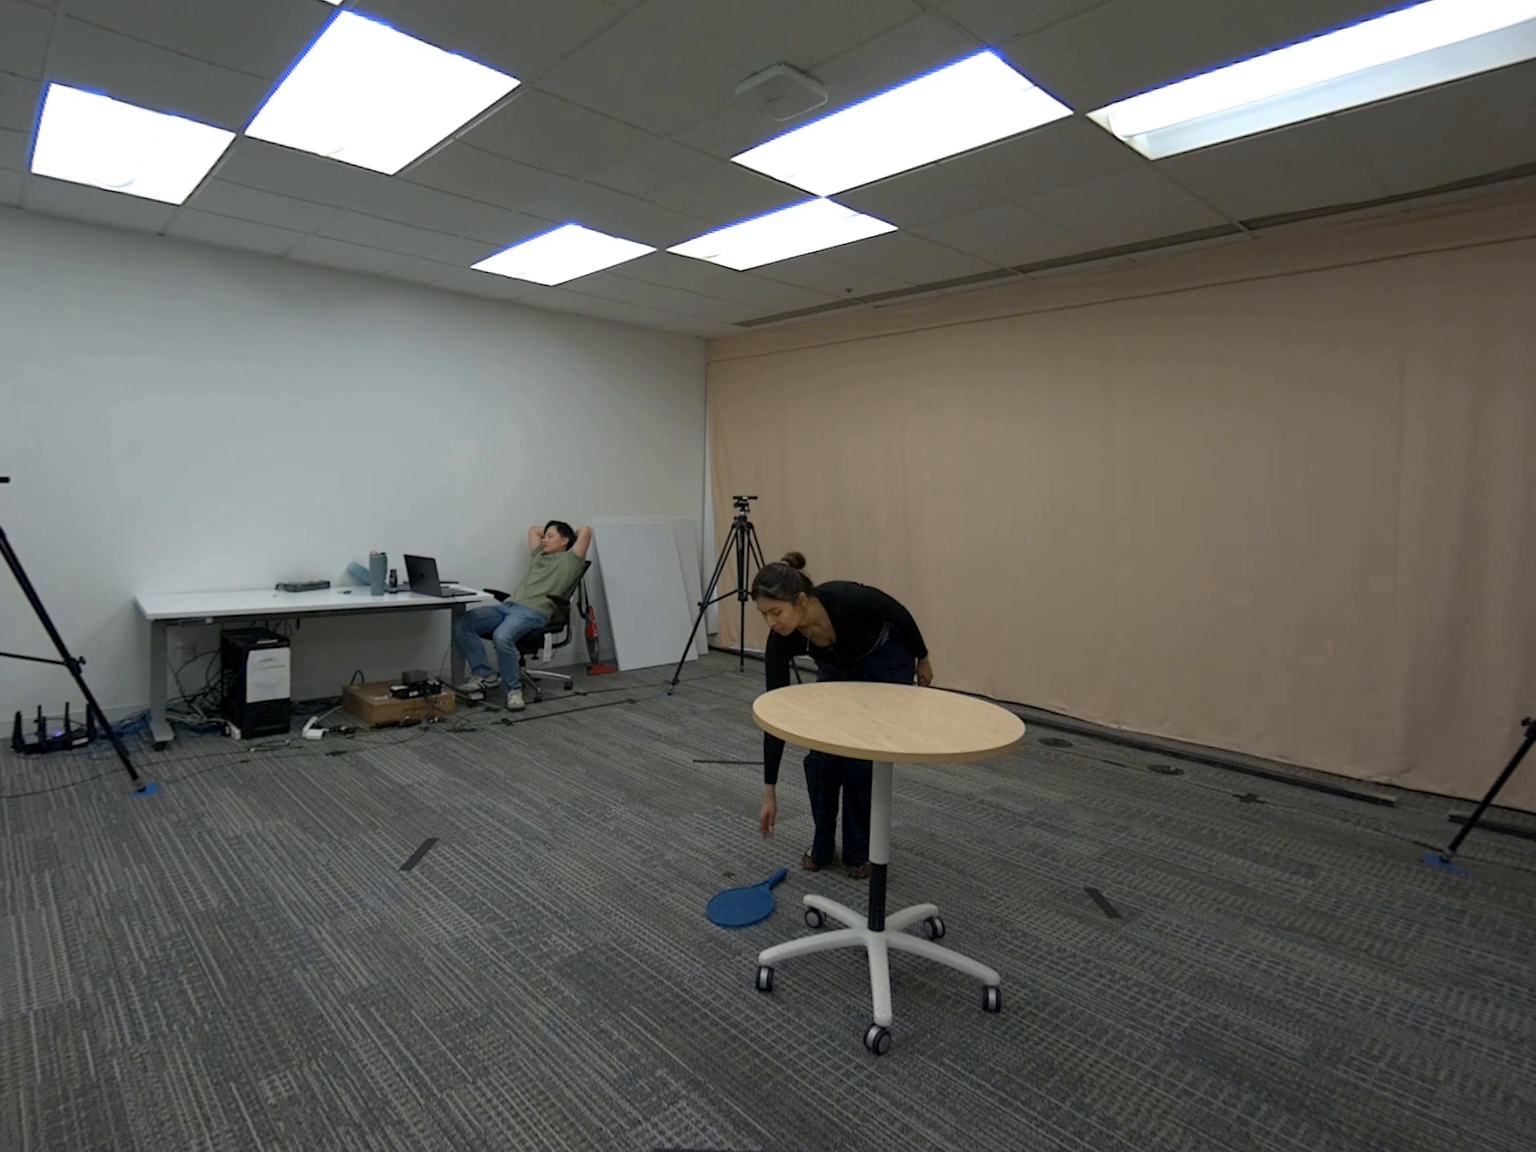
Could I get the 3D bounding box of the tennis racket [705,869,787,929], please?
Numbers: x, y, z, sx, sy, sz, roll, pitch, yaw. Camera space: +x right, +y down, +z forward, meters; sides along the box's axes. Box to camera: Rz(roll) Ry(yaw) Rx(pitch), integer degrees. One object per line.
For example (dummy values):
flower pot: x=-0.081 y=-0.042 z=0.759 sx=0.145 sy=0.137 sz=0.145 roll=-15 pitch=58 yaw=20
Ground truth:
tennis racket: x=-0.060 y=1.102 z=2.906 sx=0.218 sy=0.031 sz=0.425 roll=2 pitch=6 yaw=29
